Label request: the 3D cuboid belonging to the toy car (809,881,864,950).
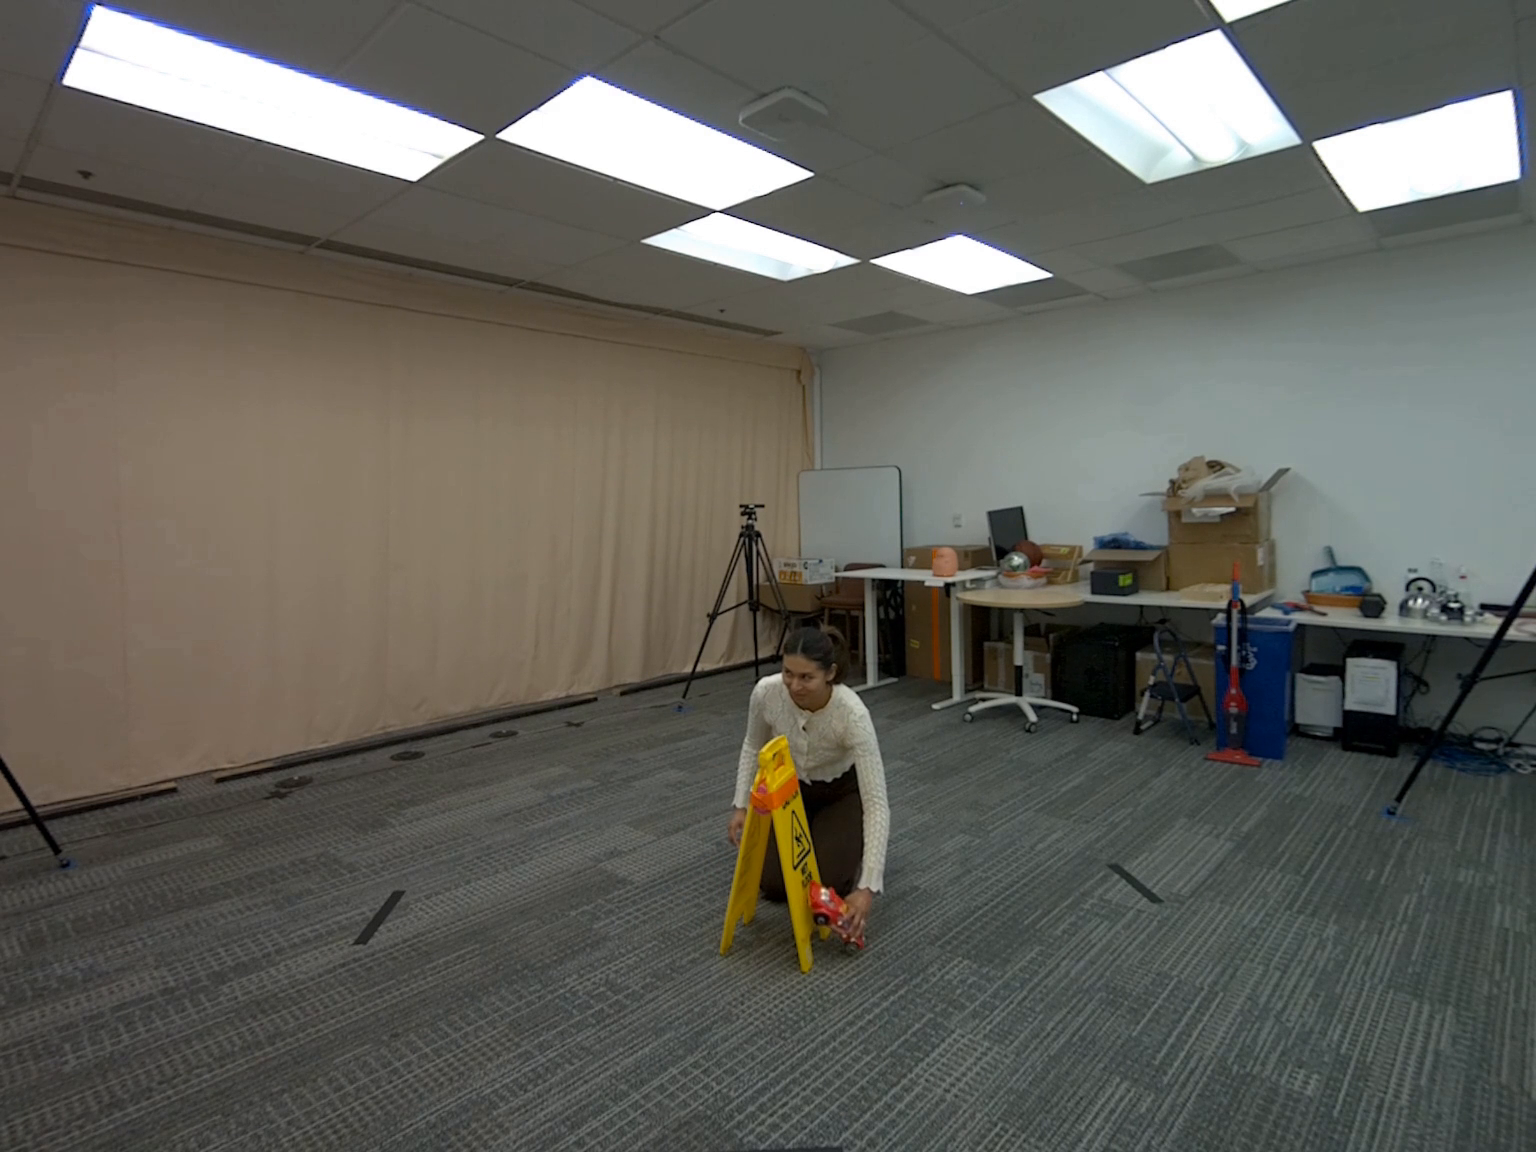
[{"bbox_3d":[0.199,1.037,2.593,0.084,0.250,0.132,-29,19,11],"label":"toy car"}]
